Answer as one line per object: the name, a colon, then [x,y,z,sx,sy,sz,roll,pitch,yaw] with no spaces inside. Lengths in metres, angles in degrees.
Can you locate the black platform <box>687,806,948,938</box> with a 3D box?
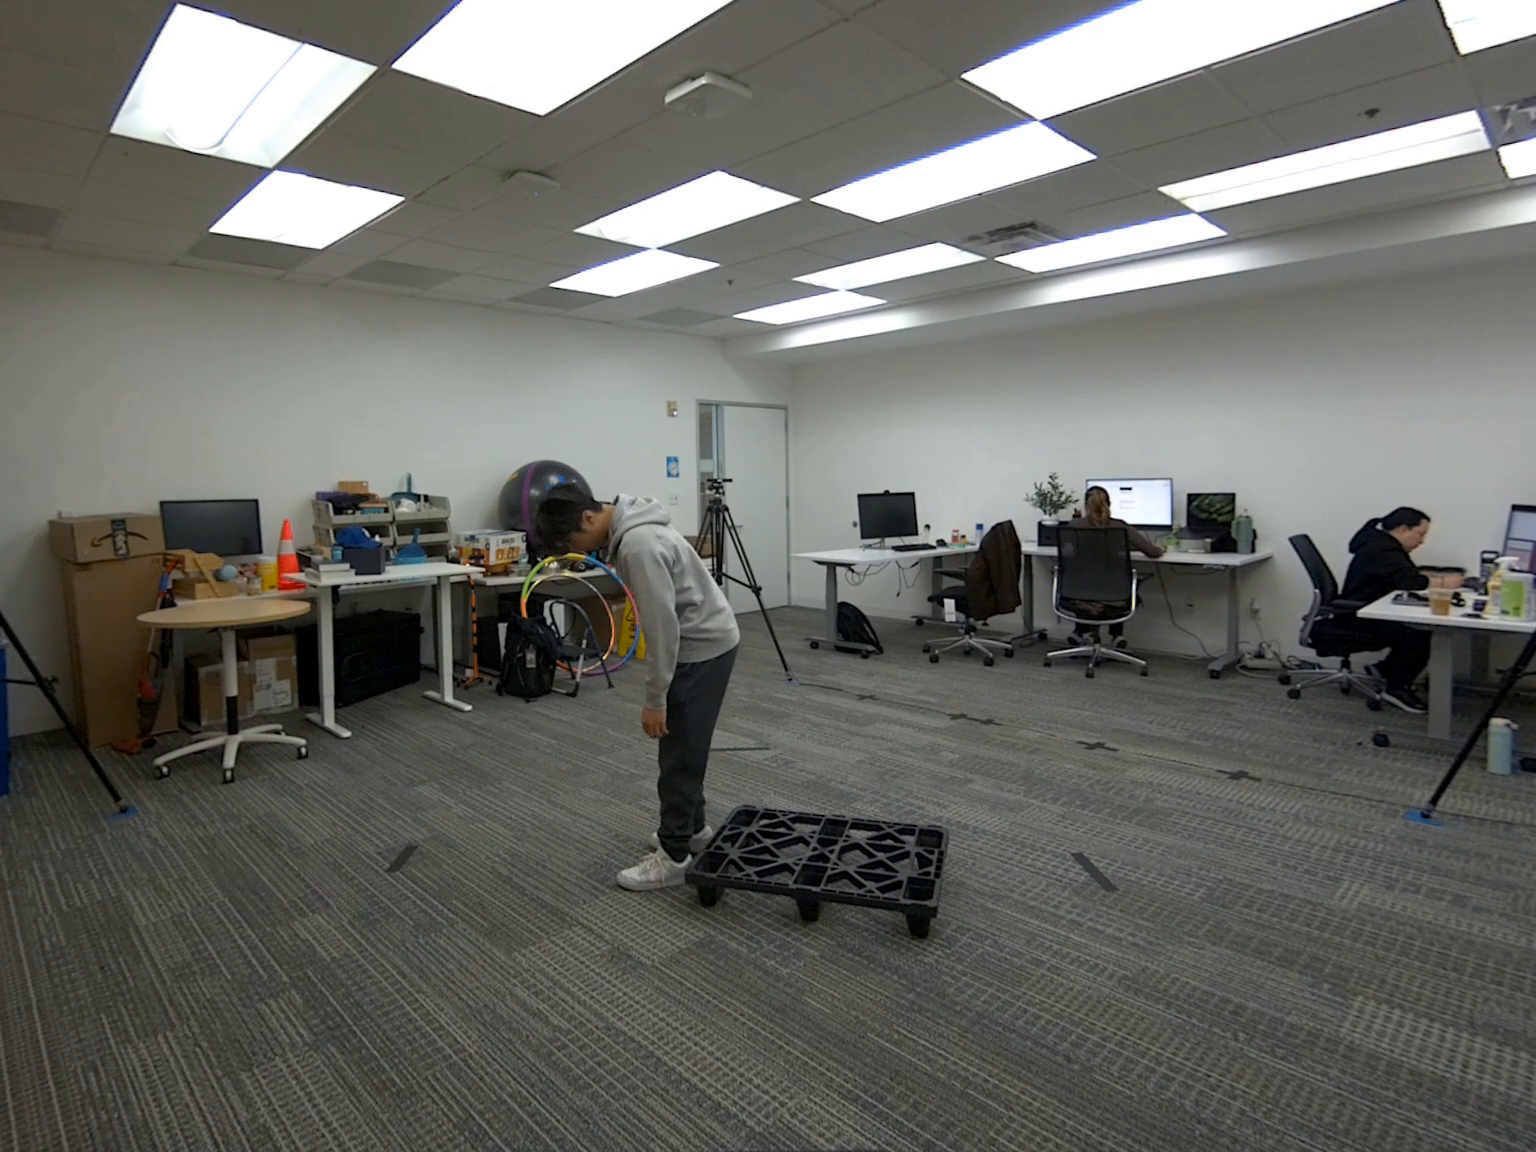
black platform: [0.187,0.997,2.919,0.819,0.143,0.597,1,6,17]
